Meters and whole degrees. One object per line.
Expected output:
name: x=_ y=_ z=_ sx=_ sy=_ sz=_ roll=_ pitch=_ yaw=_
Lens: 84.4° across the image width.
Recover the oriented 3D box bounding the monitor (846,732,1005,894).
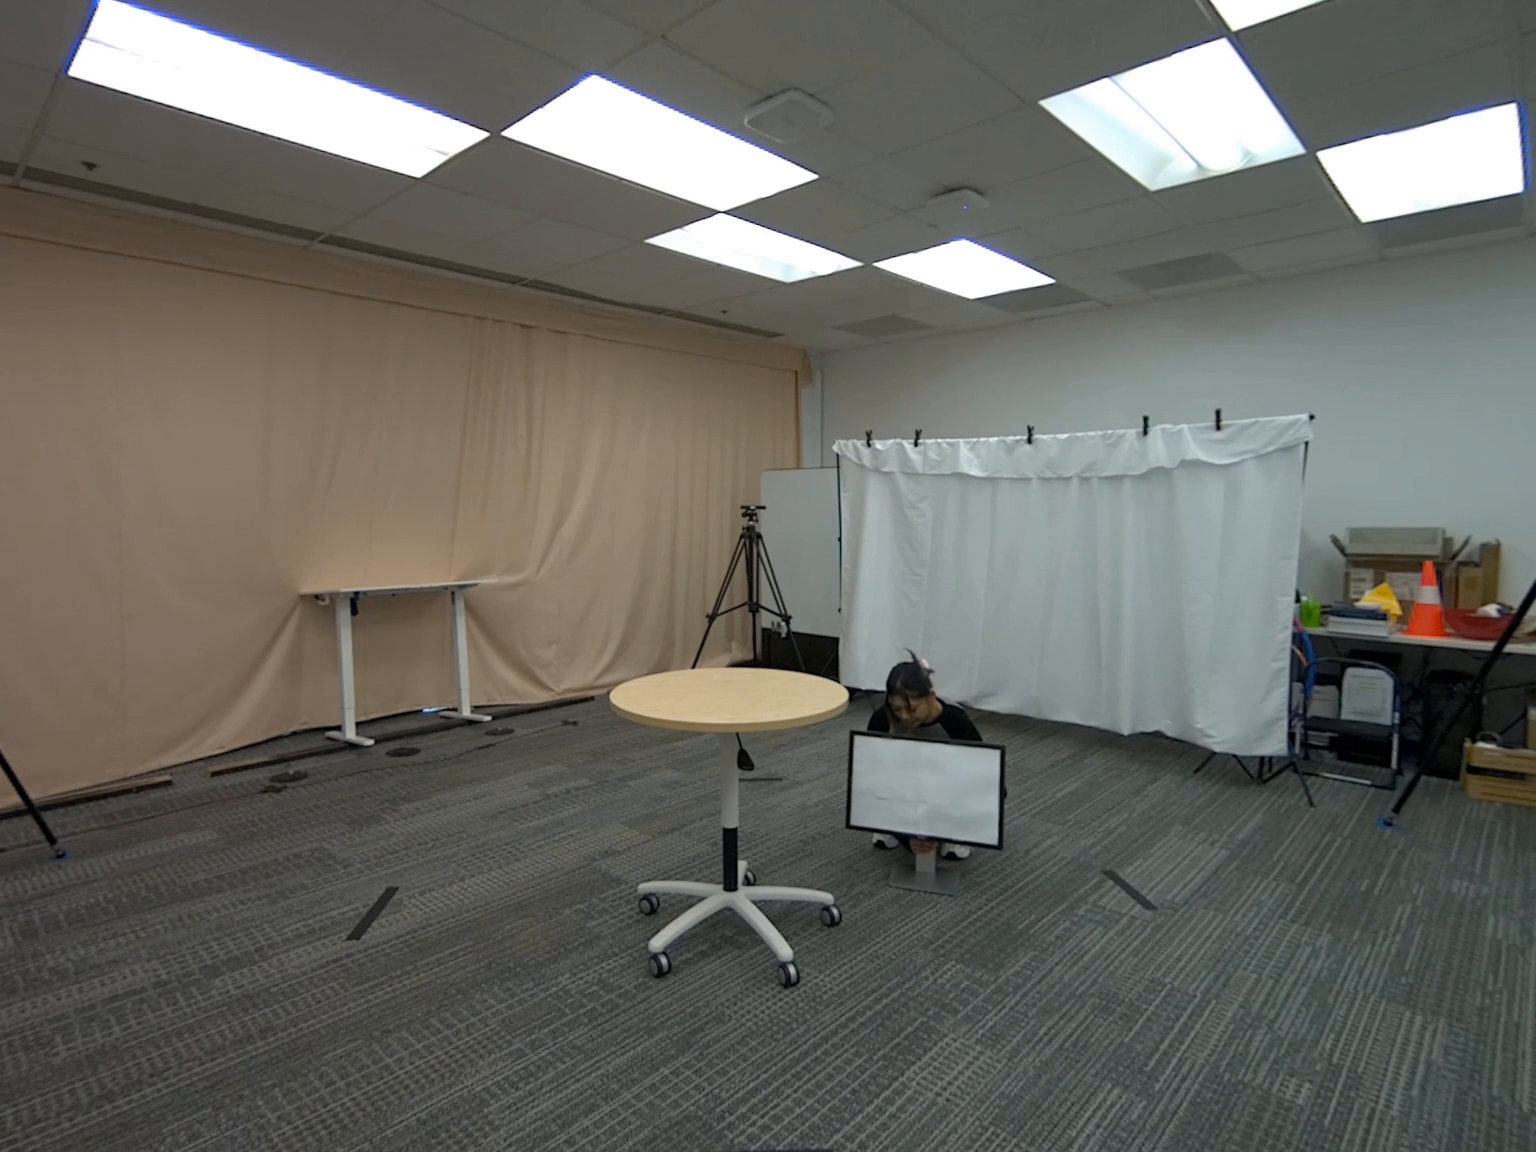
monitor: x=0.578 y=0.860 z=3.112 sx=0.550 sy=0.521 sz=0.184 roll=2 pitch=6 yaw=19
